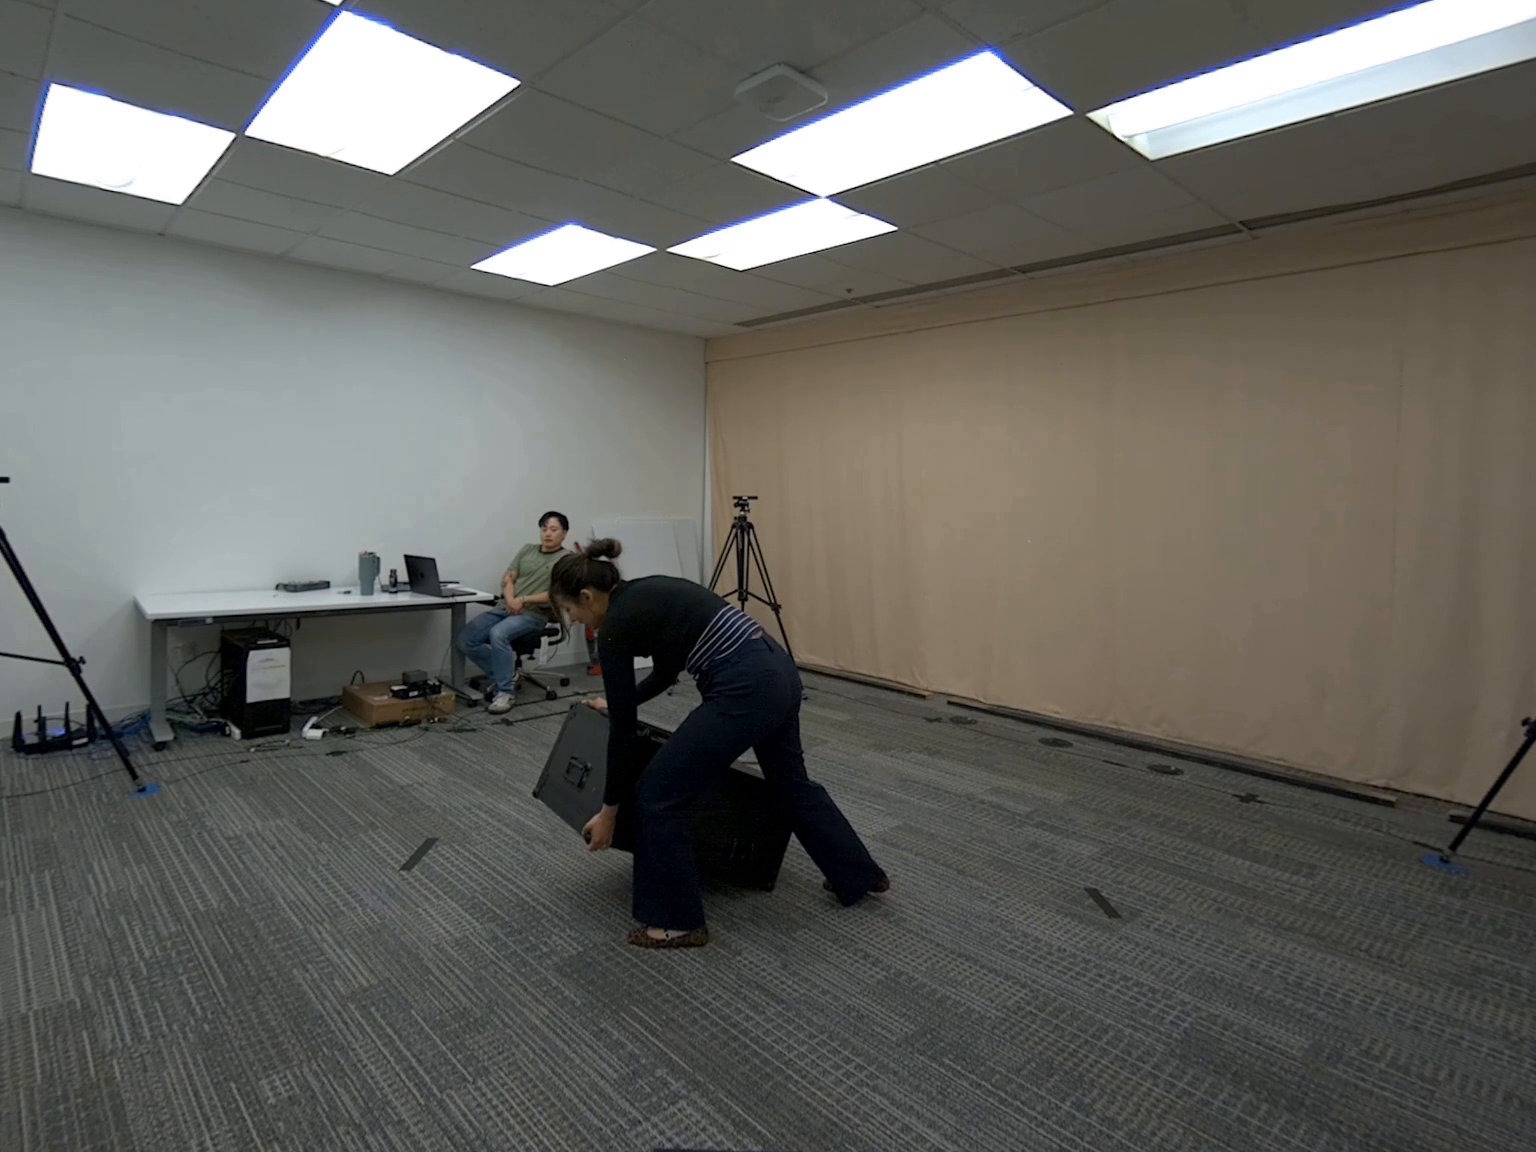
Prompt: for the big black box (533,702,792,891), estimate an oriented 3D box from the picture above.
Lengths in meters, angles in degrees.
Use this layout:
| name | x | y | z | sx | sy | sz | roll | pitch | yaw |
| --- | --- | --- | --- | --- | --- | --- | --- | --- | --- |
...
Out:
| name | x | y | z | sx | sy | sz | roll | pitch | yaw |
| --- | --- | --- | --- | --- | --- | --- | --- | --- | --- |
| big black box | -0.377 | 0.782 | 2.998 | 0.837 | 0.398 | 0.534 | 28 | -11 | -32 |
